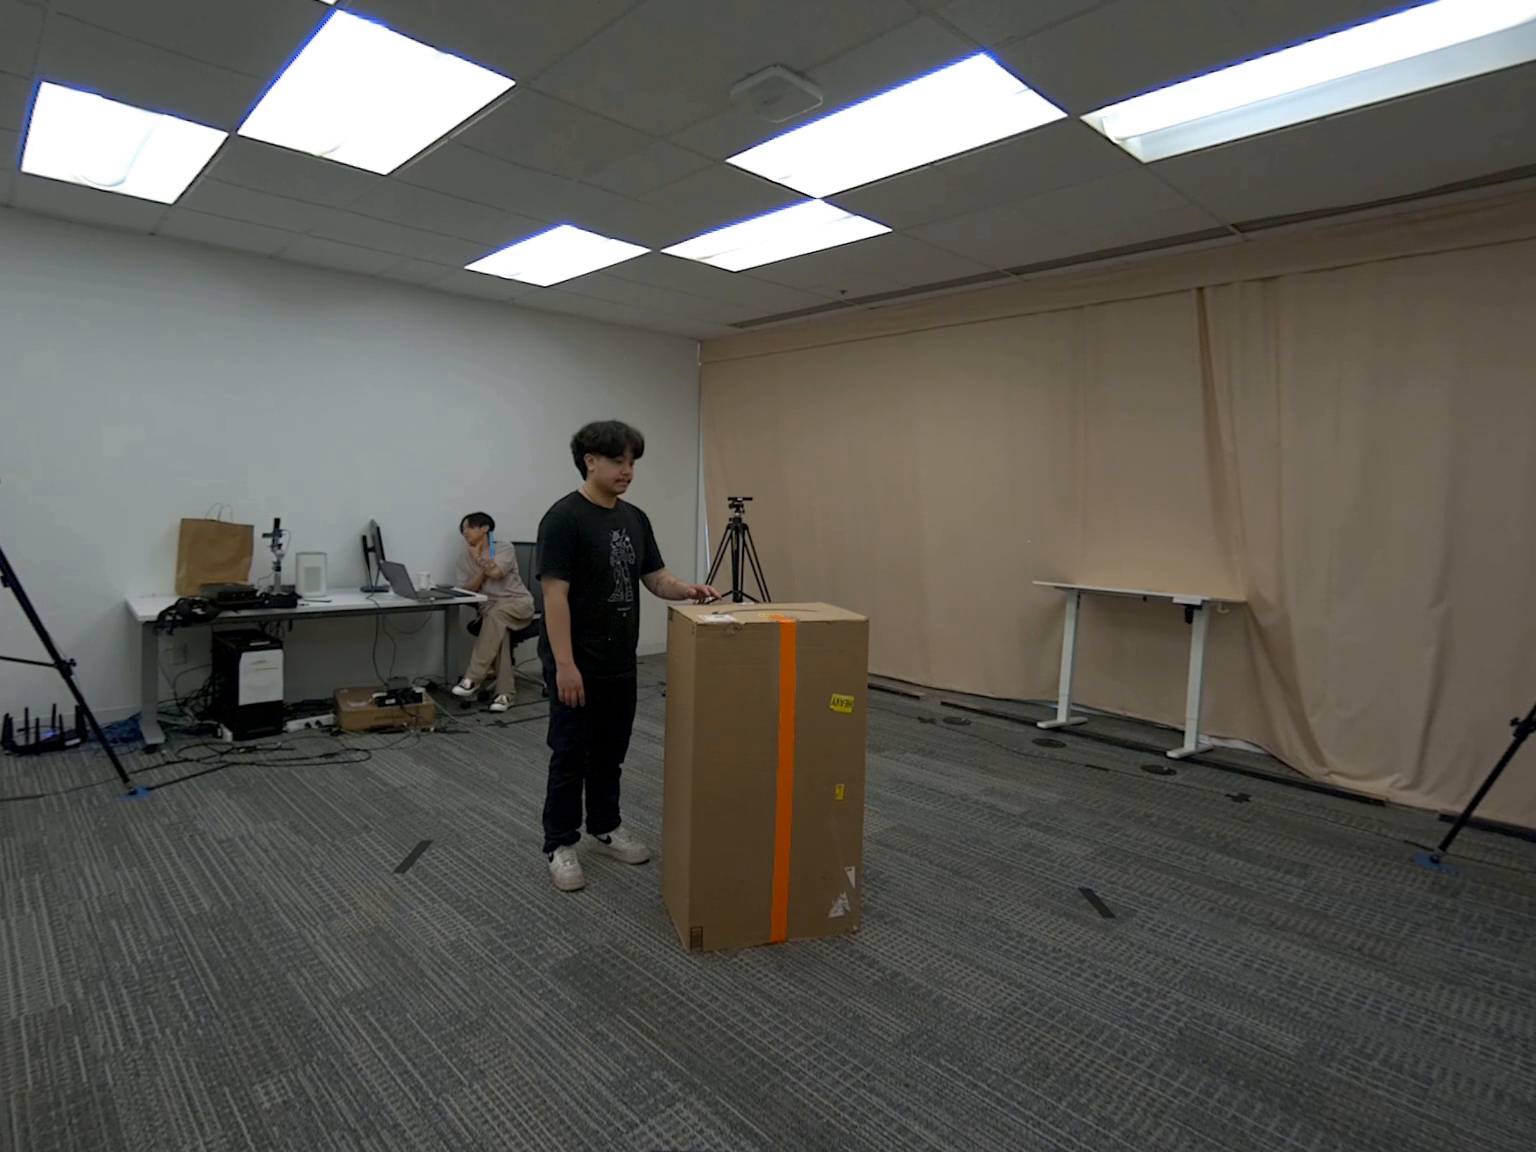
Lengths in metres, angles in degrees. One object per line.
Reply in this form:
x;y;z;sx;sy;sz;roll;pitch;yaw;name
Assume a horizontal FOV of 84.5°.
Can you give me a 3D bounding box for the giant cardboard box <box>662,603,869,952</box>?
-0.030;0.625;2.812;0.576;1.024;0.454;0;4;-17;giant cardboard box
